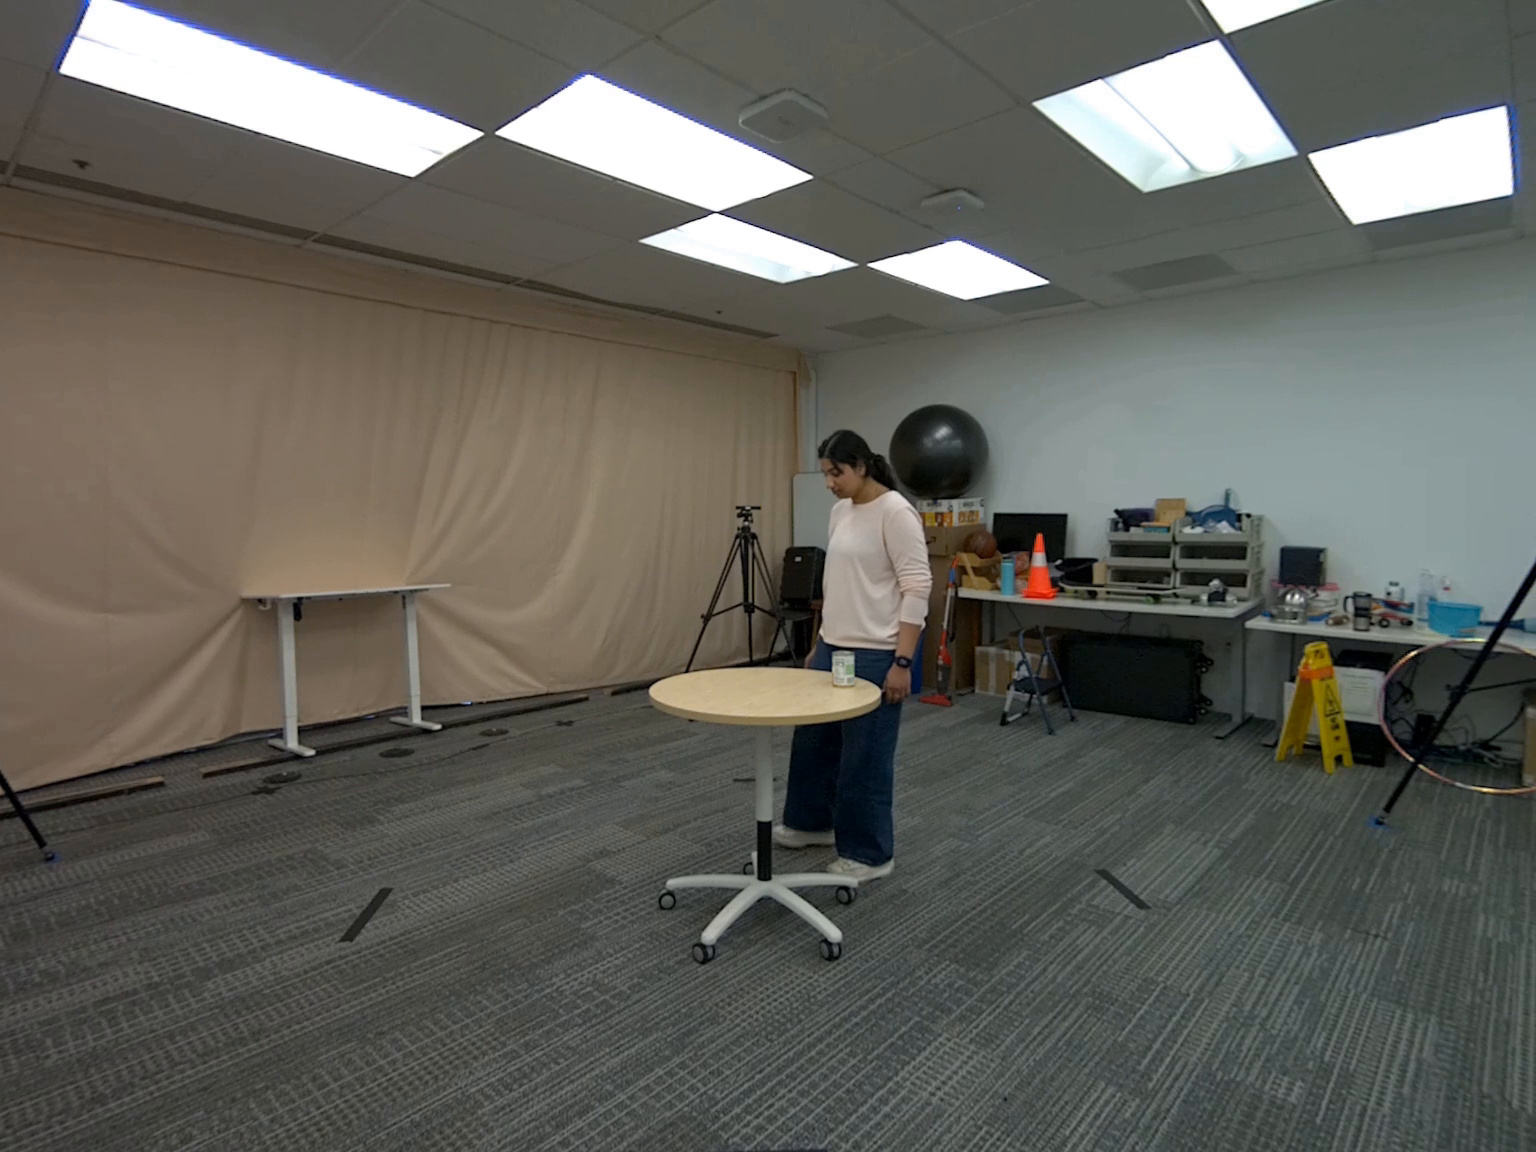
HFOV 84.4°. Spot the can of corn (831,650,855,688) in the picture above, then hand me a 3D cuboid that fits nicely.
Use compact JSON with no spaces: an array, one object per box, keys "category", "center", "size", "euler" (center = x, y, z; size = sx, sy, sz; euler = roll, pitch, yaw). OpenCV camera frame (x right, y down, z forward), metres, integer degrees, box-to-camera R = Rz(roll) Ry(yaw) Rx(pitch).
[{"category":"can of corn","center":[0.252,0.316,2.833],"size":[0.074,0.111,0.074],"euler":[-1,2,-2]}]
